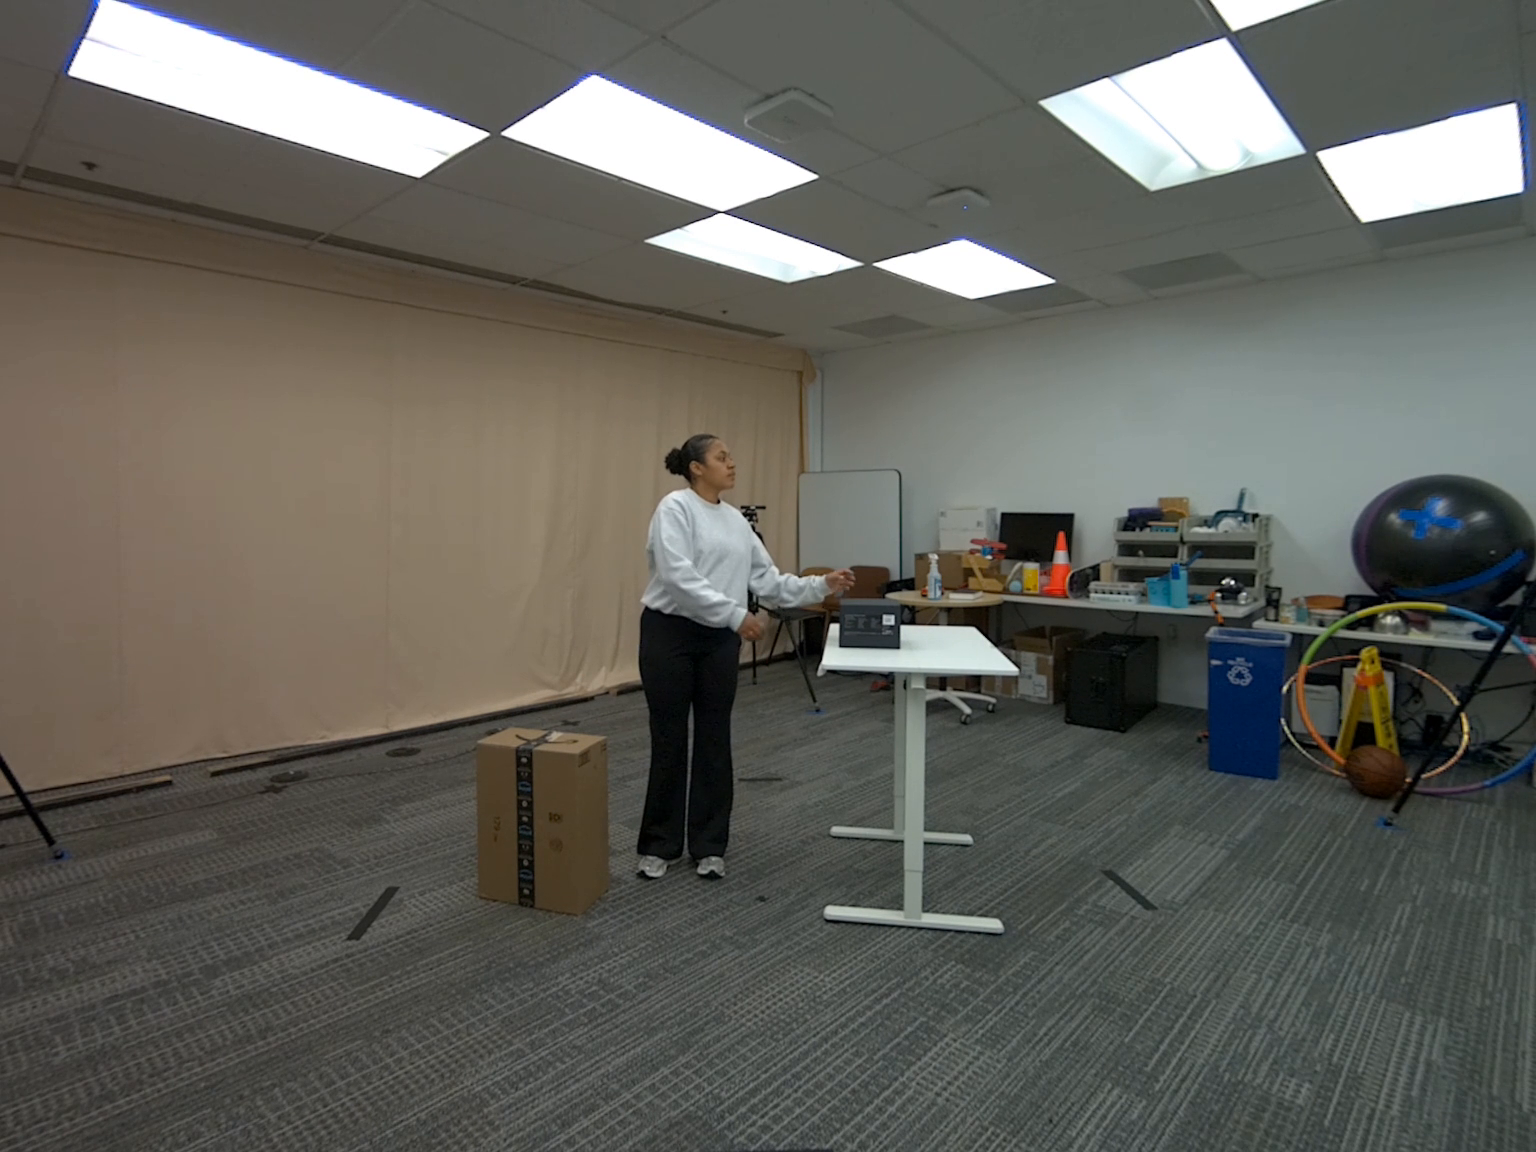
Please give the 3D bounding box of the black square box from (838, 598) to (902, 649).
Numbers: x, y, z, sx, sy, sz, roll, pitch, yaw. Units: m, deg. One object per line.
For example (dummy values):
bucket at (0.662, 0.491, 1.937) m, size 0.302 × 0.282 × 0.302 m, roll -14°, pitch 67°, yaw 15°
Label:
black square box at (0.380, 0.167, 3.092) m, size 0.219 × 0.156 × 0.226 m, roll 2°, pitch 3°, yaw 7°
